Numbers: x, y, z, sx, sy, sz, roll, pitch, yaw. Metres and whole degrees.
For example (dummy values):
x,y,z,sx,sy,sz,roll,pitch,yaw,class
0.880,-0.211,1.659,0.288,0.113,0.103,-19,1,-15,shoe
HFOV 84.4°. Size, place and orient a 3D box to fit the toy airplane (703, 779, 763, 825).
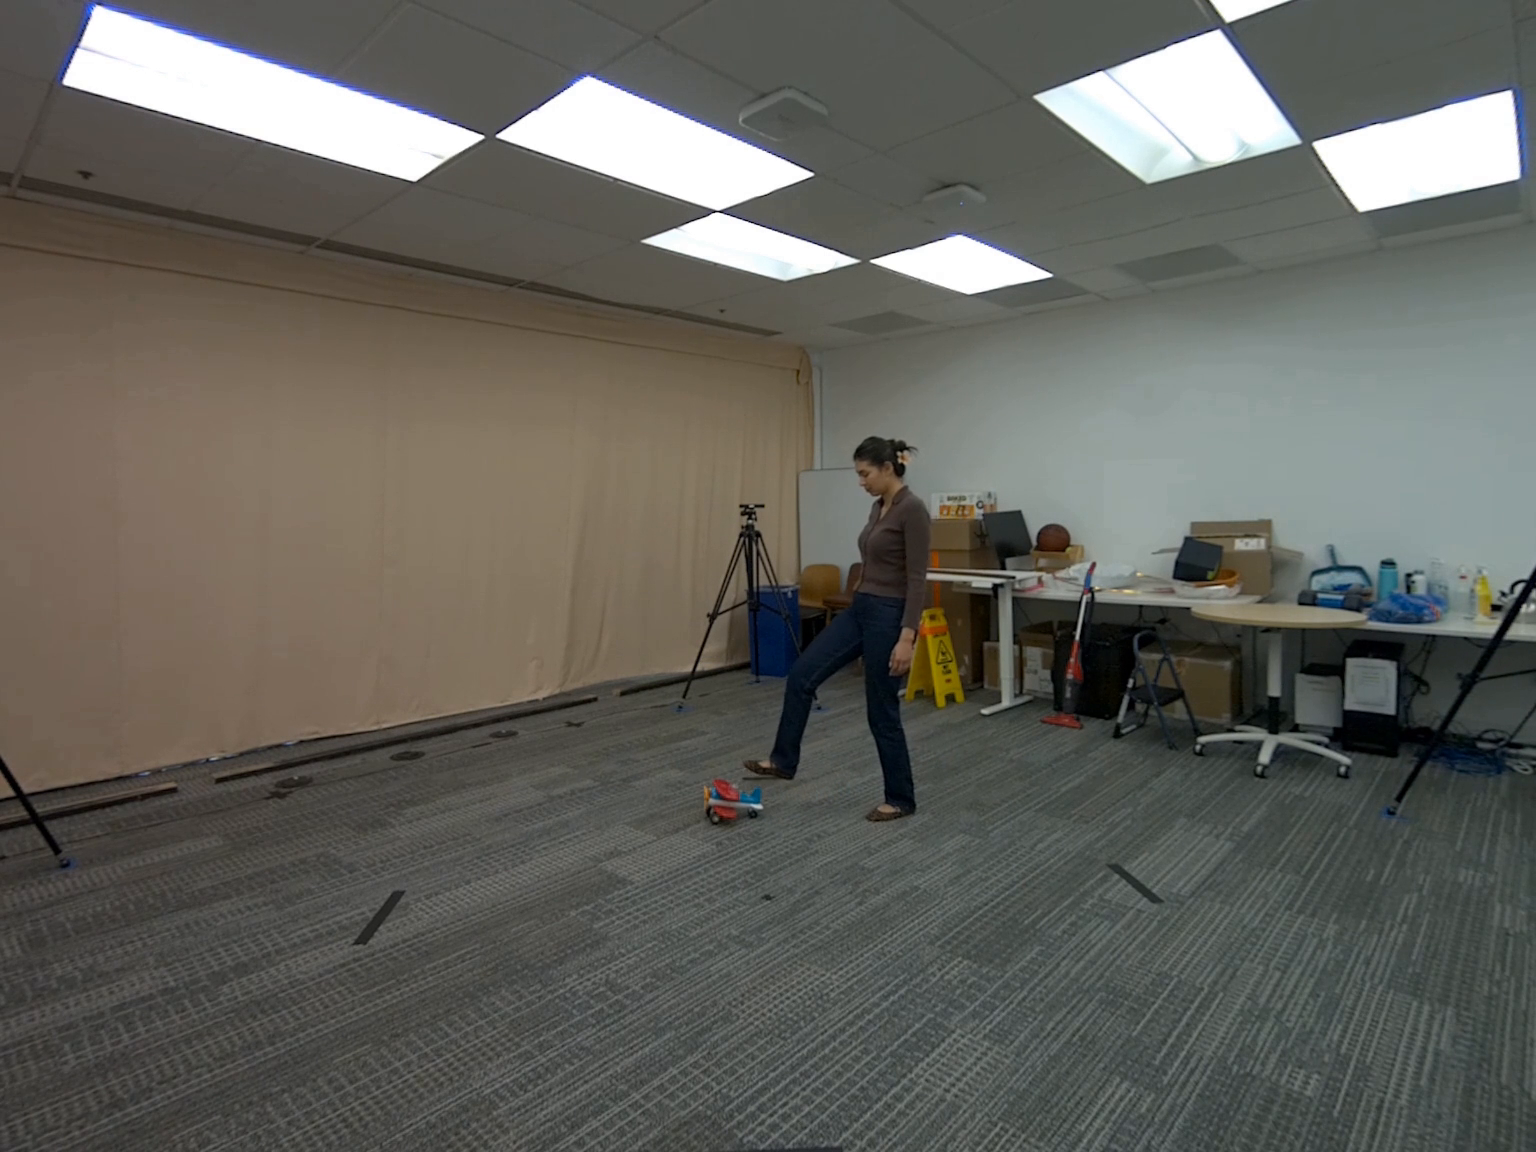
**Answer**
x,y,z,sx,sy,sz,roll,pitch,yaw,class
-0.158,1.001,3.754,0.251,0.156,0.259,-6,6,-42,toy airplane
